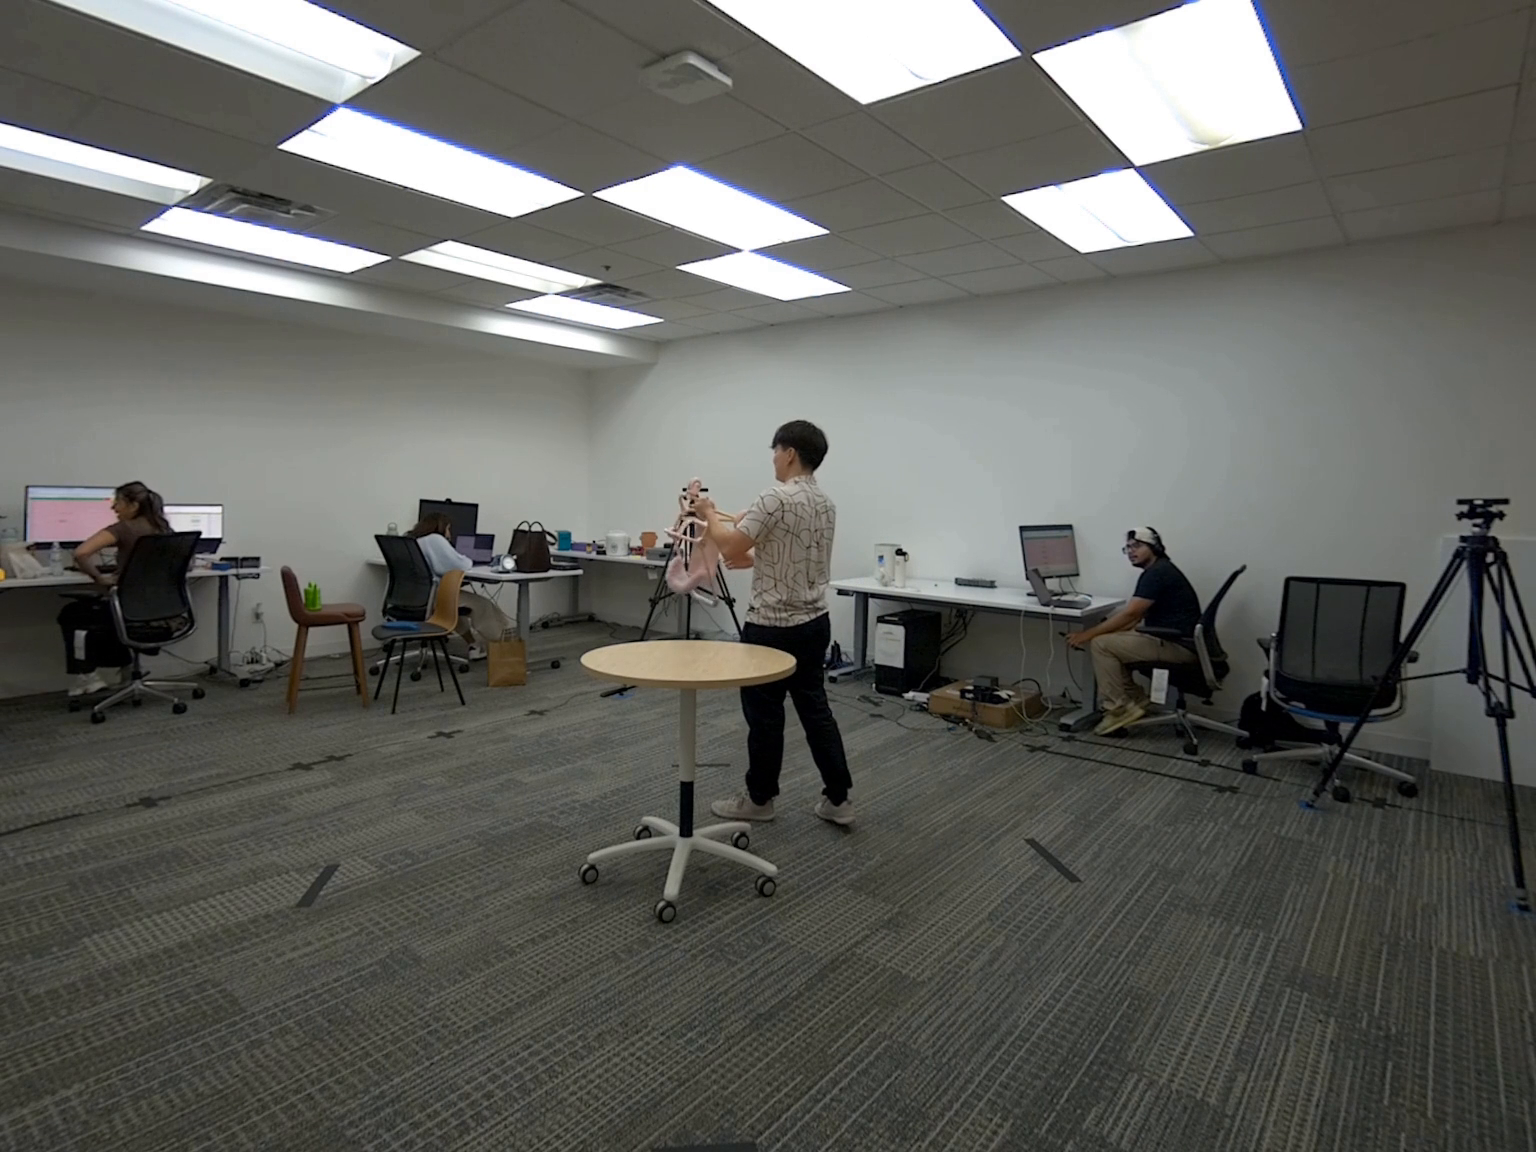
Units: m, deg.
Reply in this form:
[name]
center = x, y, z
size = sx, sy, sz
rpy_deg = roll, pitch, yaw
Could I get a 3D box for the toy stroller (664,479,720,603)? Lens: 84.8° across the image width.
[toy stroller]
center = -0.322, -0.151, 3.773
size = 0.292, 0.534, 0.329
rpy_deg = 21, 3, 37
